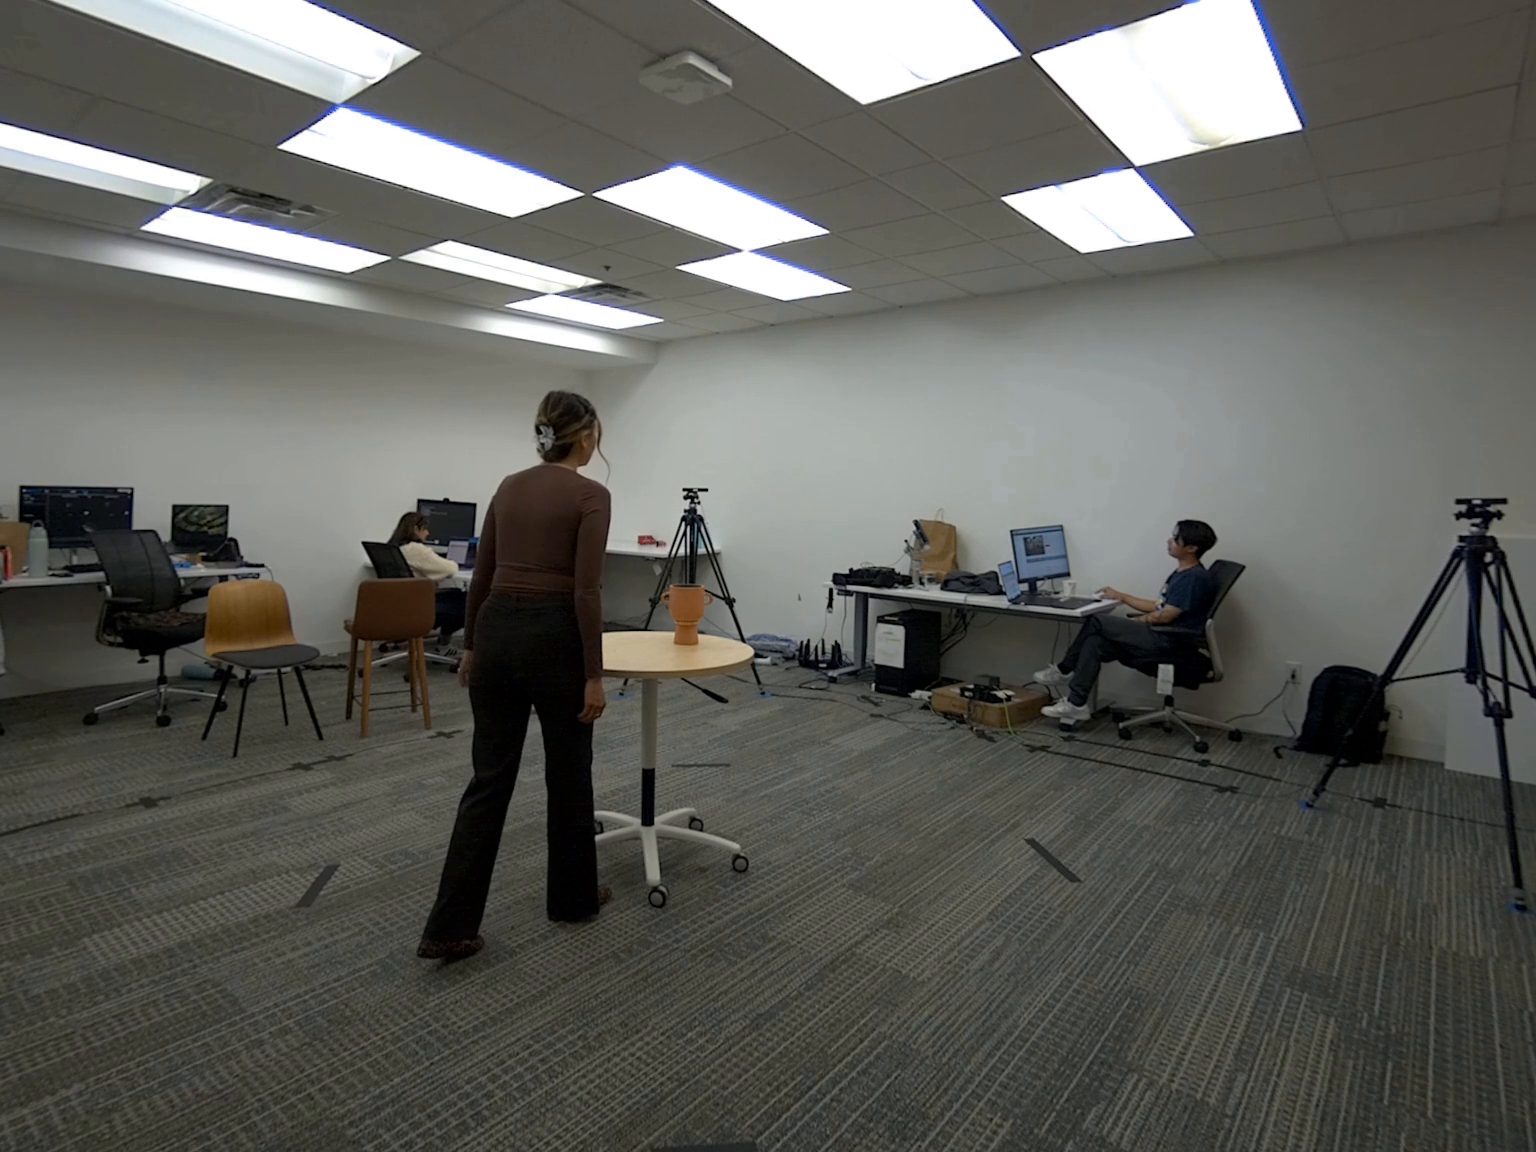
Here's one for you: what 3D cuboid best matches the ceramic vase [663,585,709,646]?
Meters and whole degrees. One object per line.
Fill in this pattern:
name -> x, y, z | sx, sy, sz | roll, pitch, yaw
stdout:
ceramic vase -> -0.322, 0.146, 3.261 | 0.163, 0.219, 0.131 | 4, 4, 29
